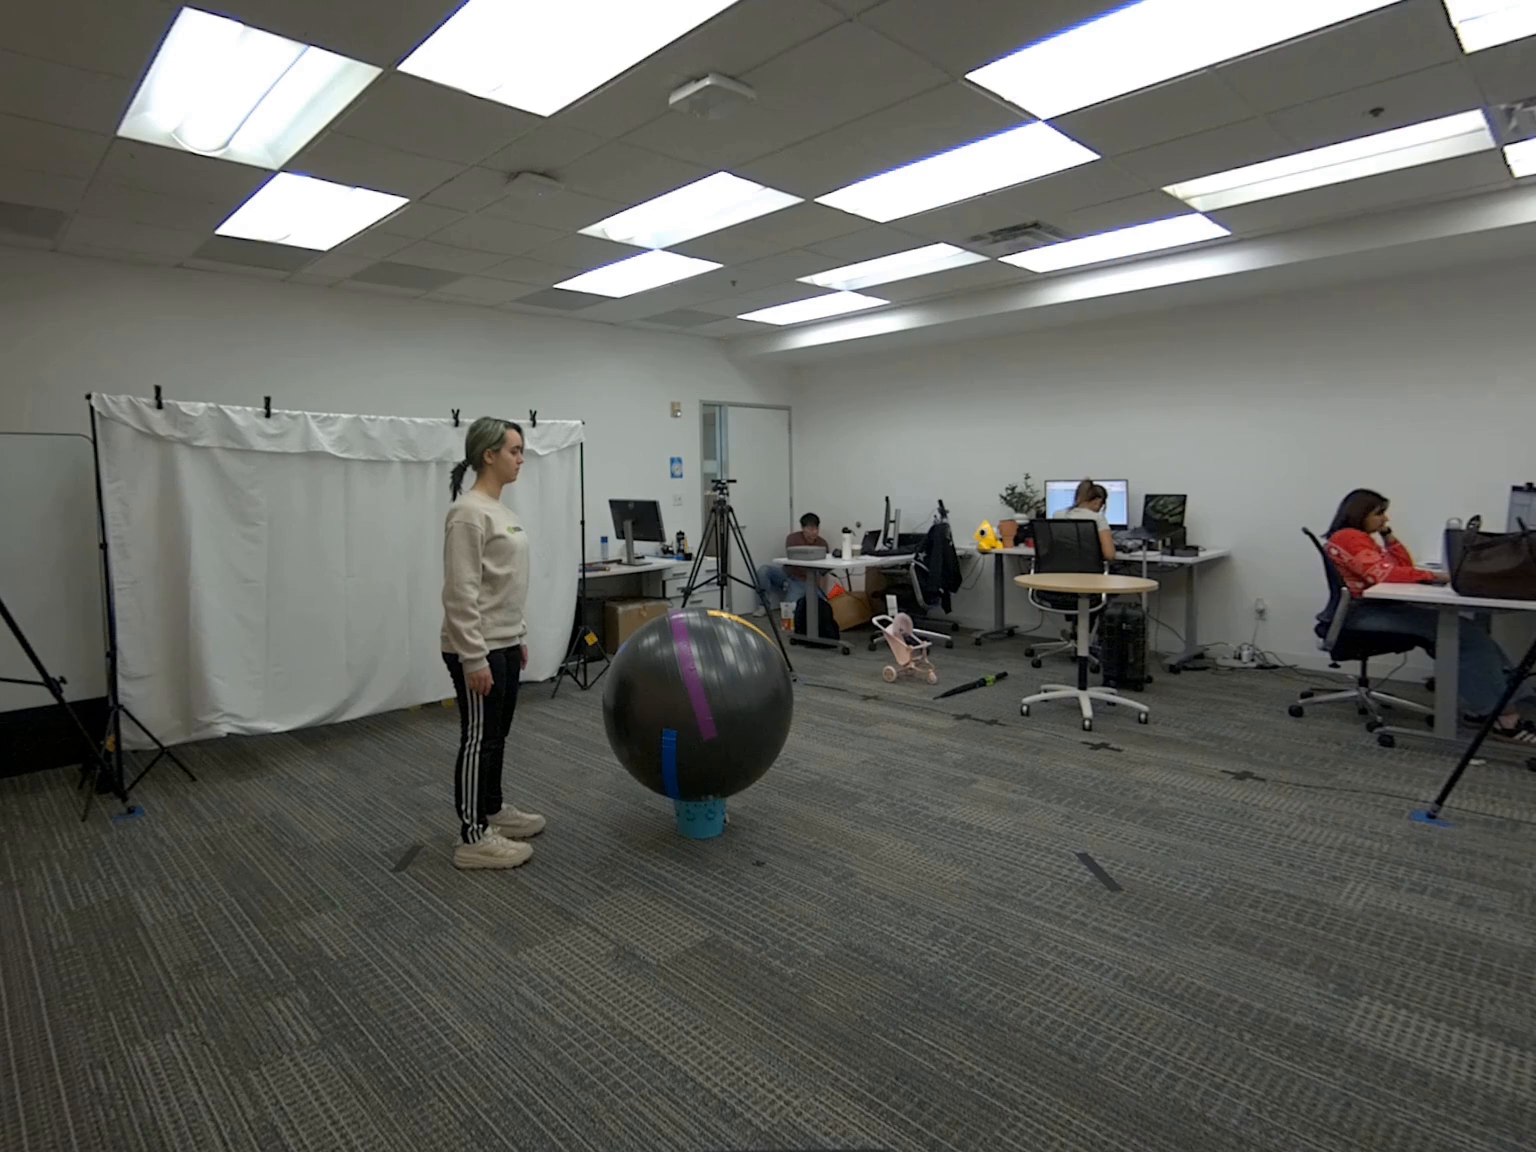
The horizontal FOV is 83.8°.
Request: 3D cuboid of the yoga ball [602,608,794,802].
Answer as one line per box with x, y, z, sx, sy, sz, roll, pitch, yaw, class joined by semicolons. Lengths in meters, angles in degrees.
-0.275;0.510;3.401;0.757;0.755;0.762;-1;5;-2;yoga ball
